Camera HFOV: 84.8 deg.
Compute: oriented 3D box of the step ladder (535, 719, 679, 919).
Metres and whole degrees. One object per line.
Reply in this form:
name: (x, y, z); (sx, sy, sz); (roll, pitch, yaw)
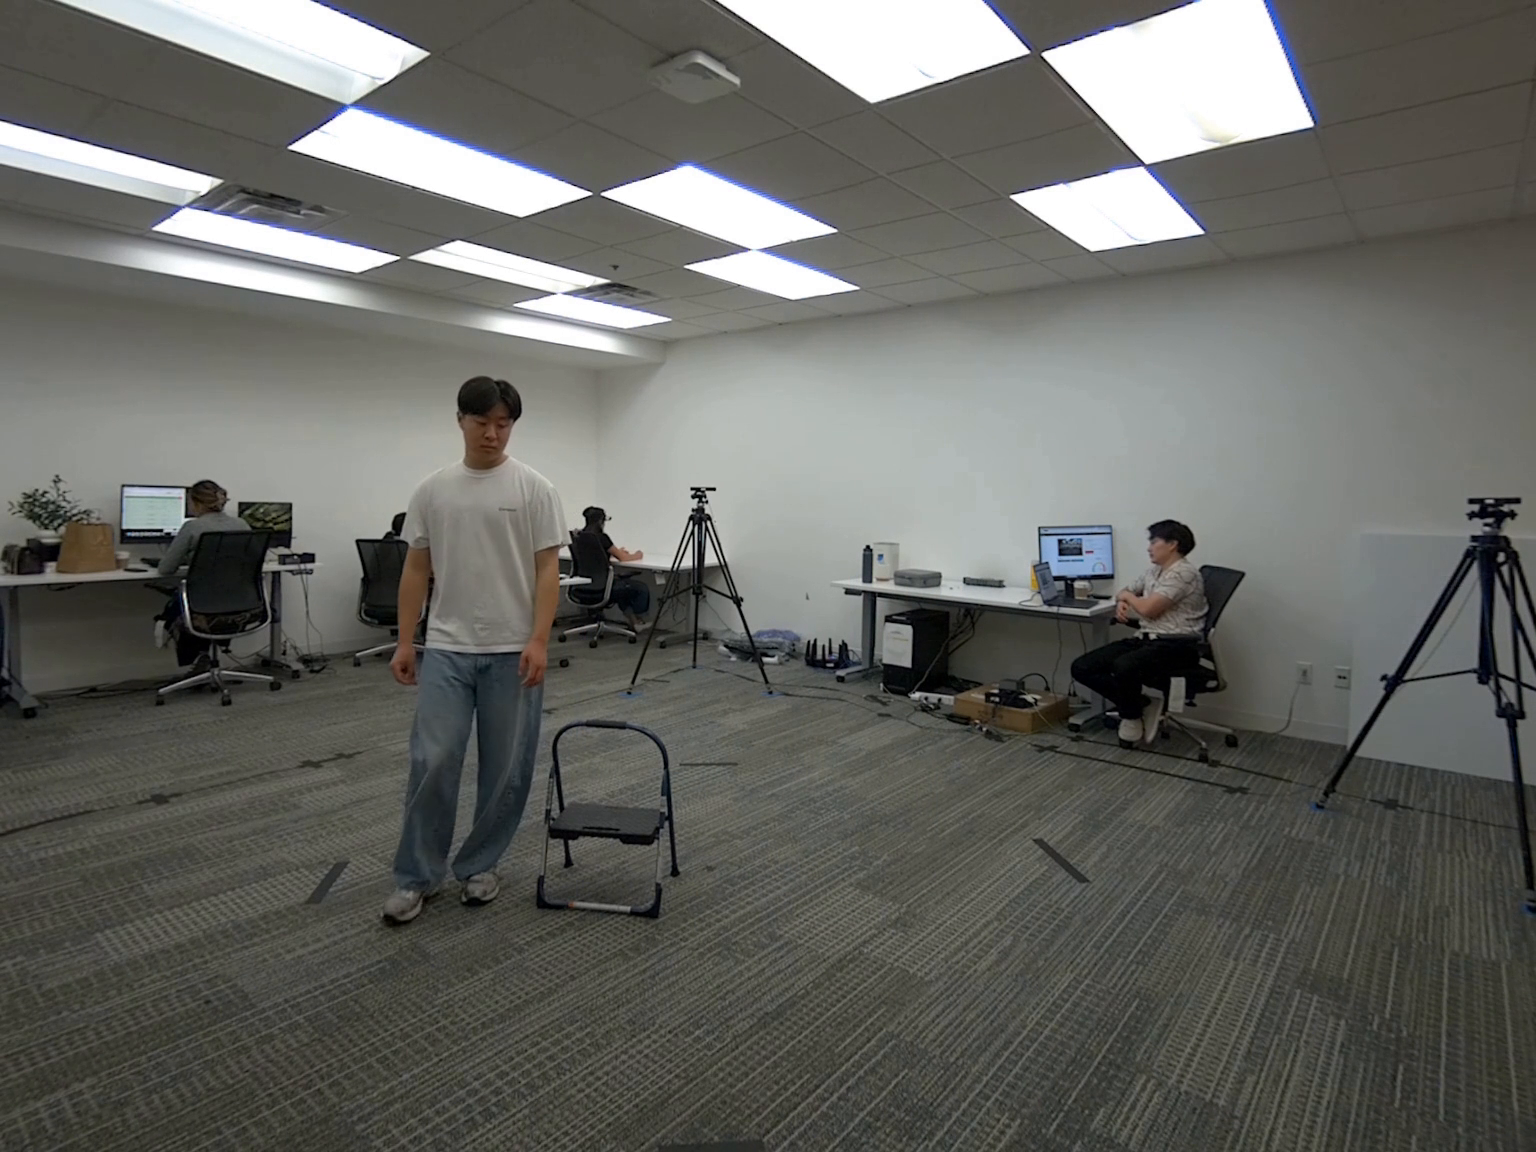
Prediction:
step ladder: (-0.548, 0.780, 2.907); (0.434, 0.604, 0.348); (1, 3, 6)
